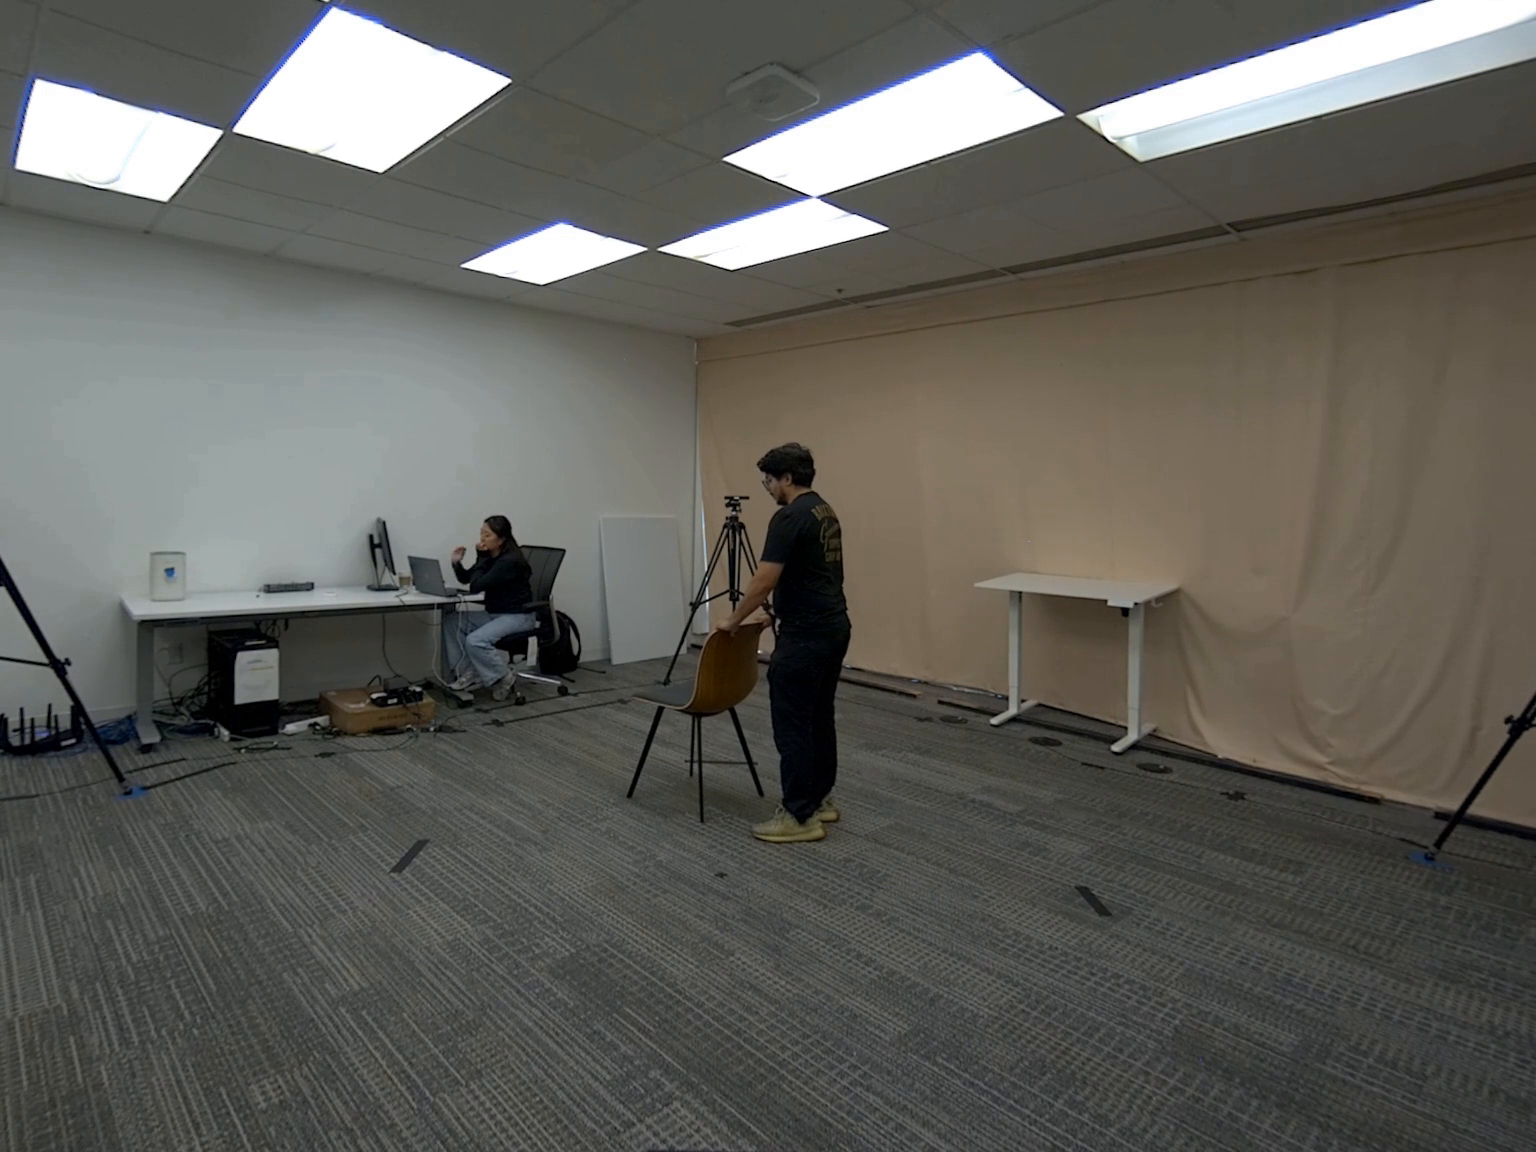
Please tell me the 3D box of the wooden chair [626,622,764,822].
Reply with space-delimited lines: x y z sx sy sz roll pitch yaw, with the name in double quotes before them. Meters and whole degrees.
"wooden chair" -0.338 0.601 3.879 0.537 0.874 0.467 9 7 36
